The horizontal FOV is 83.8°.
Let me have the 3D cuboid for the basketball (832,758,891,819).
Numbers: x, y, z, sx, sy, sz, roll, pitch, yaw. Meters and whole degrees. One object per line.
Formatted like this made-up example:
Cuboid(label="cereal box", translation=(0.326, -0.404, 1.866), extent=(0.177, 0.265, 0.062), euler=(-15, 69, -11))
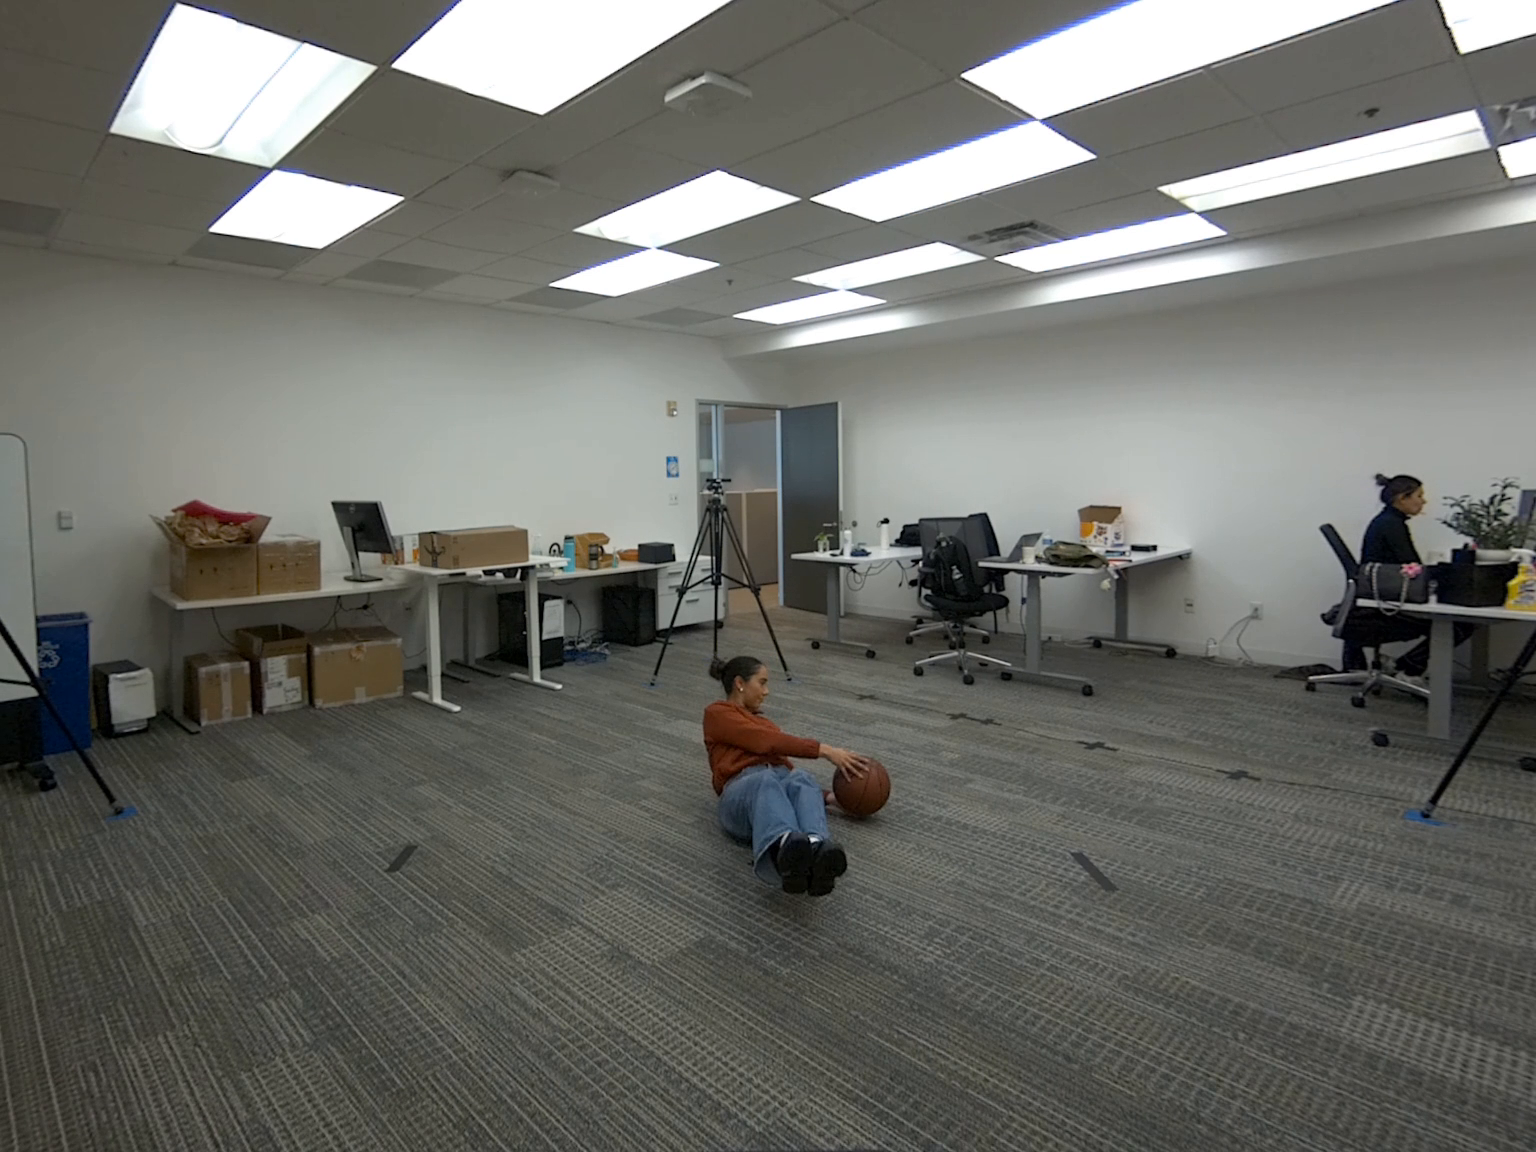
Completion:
Cuboid(label="basketball", translation=(0.375, 0.833, 3.490), extent=(0.236, 0.235, 0.237), euler=(-1, 5, -2))
